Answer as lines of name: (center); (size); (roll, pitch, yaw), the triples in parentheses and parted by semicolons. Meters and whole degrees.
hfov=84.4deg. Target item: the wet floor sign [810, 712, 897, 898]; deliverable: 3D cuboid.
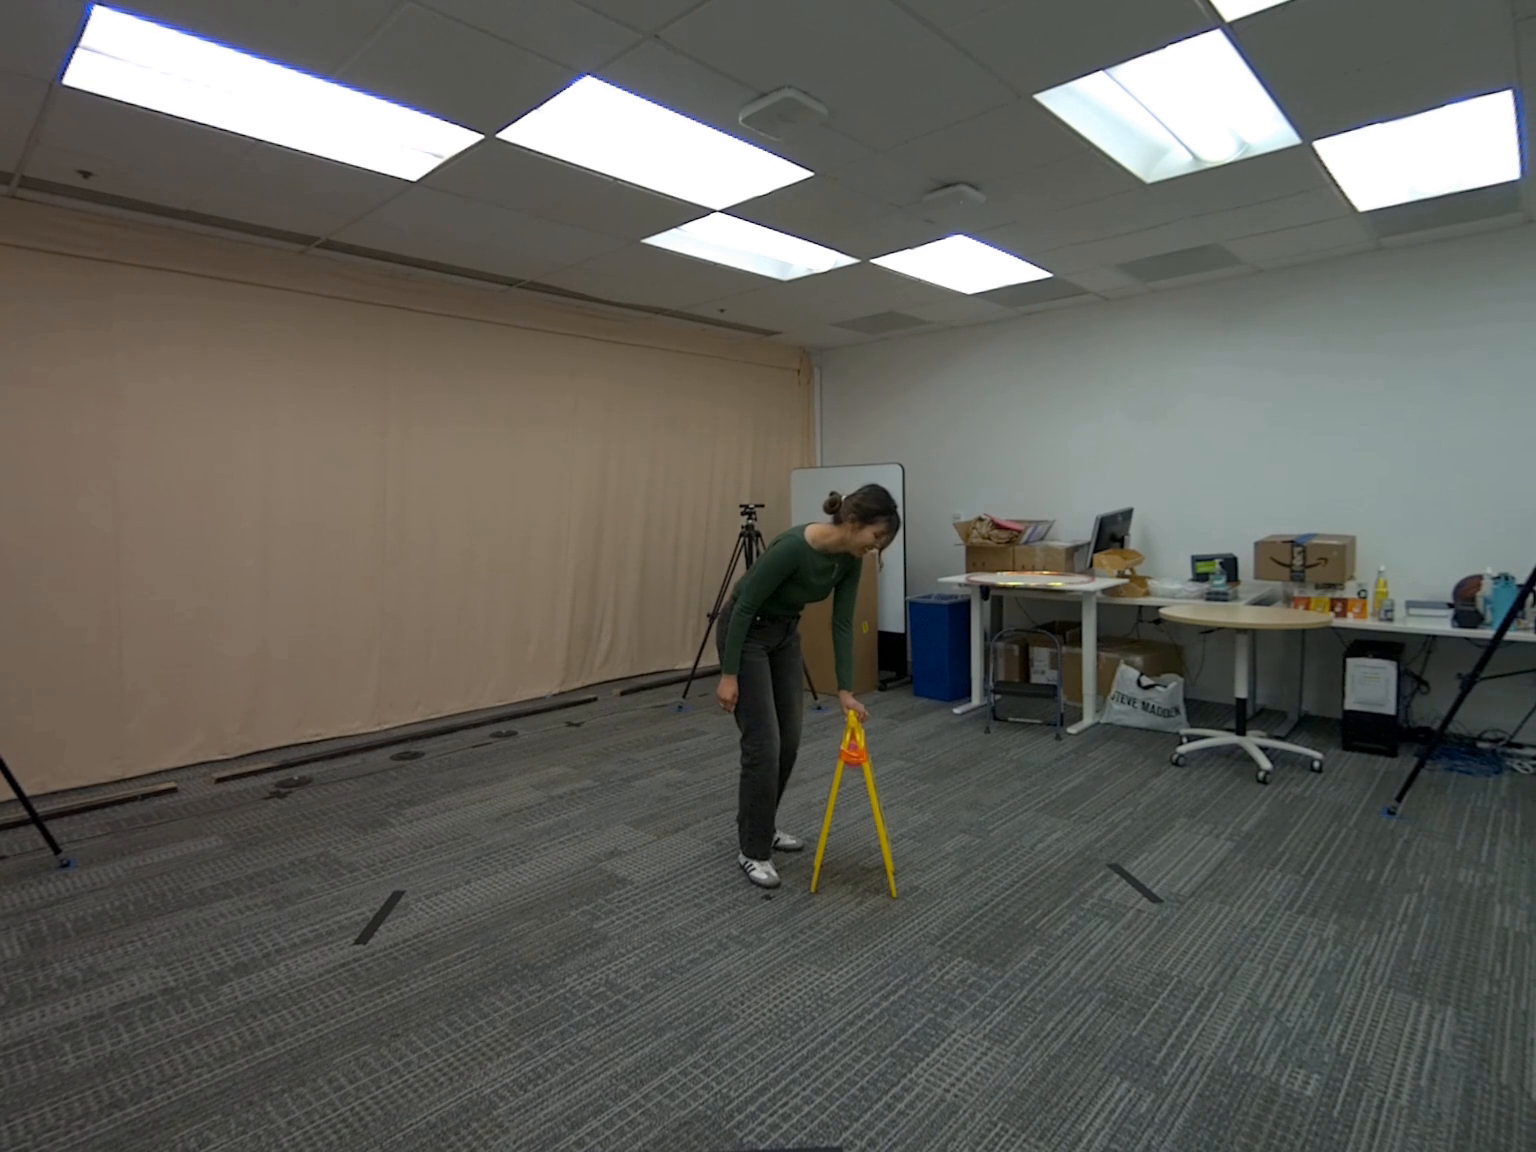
wet floor sign: (0.314, 0.798, 3.097); (0.292, 0.644, 0.280); (0, 4, 7)
